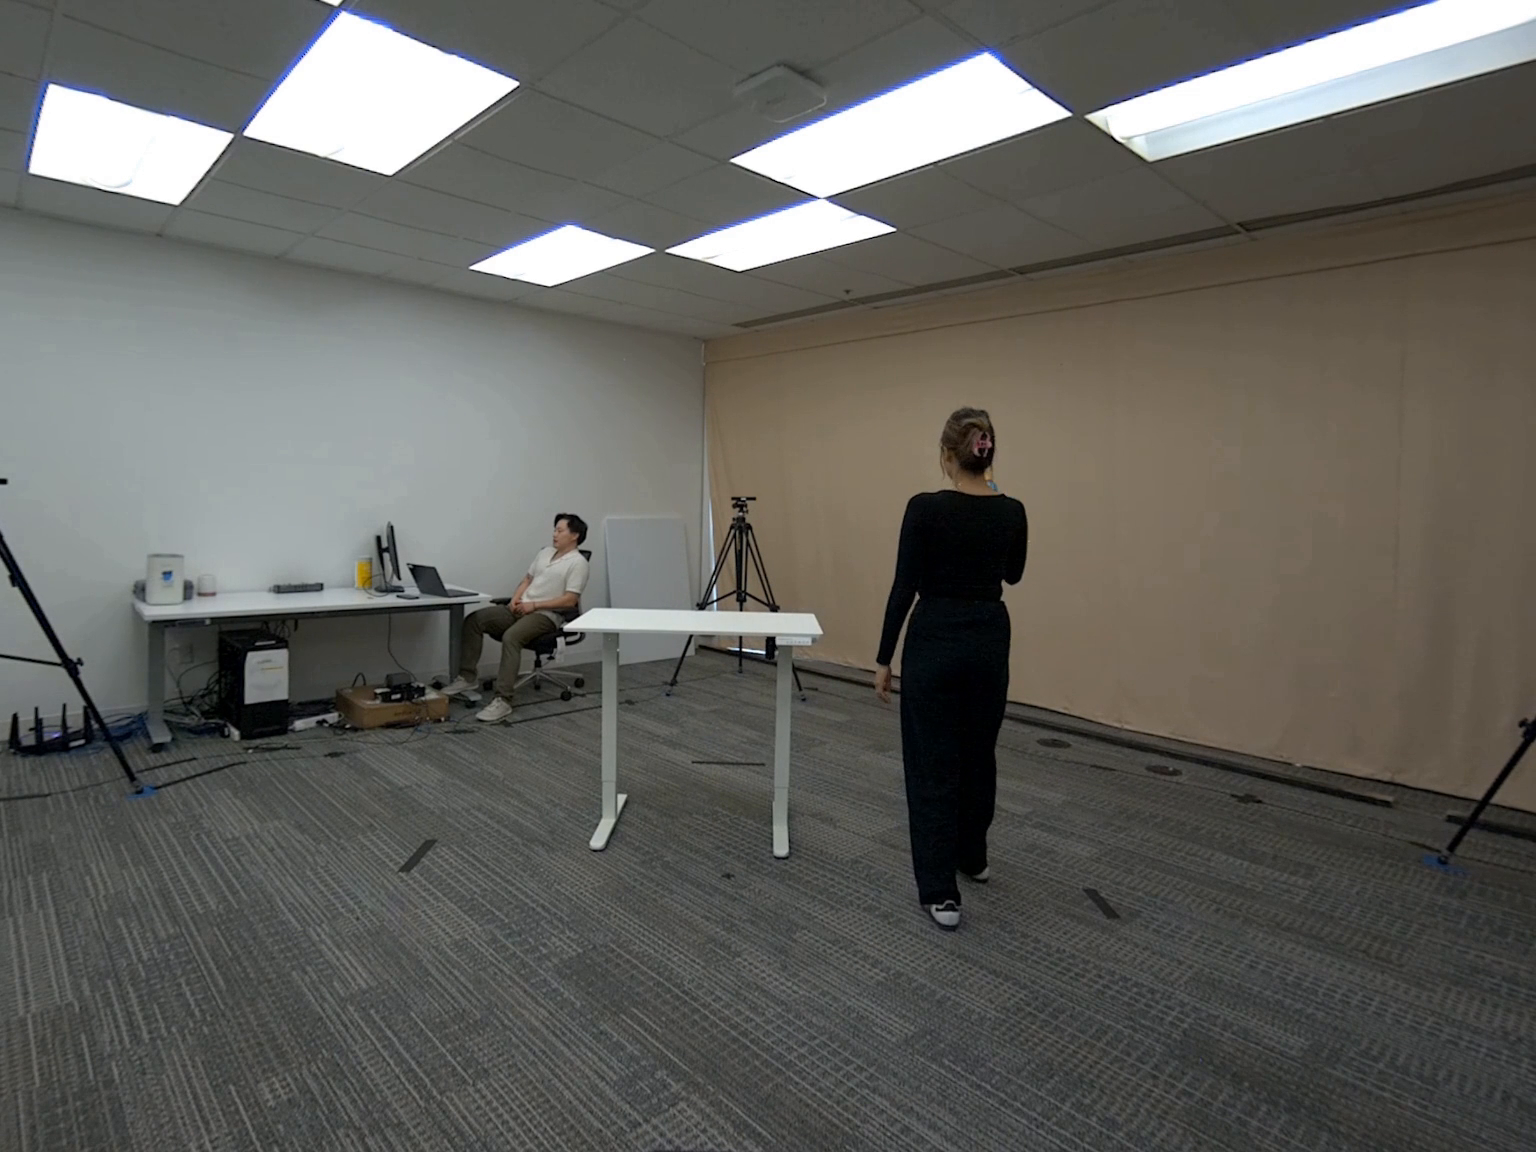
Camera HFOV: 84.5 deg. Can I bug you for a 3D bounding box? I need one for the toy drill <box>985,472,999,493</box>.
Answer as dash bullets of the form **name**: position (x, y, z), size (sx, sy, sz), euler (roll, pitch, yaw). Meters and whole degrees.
- **toy drill**: position (0.846, -0.313, 3.276), size (0.061, 0.144, 0.173), euler (10, 46, -7)
